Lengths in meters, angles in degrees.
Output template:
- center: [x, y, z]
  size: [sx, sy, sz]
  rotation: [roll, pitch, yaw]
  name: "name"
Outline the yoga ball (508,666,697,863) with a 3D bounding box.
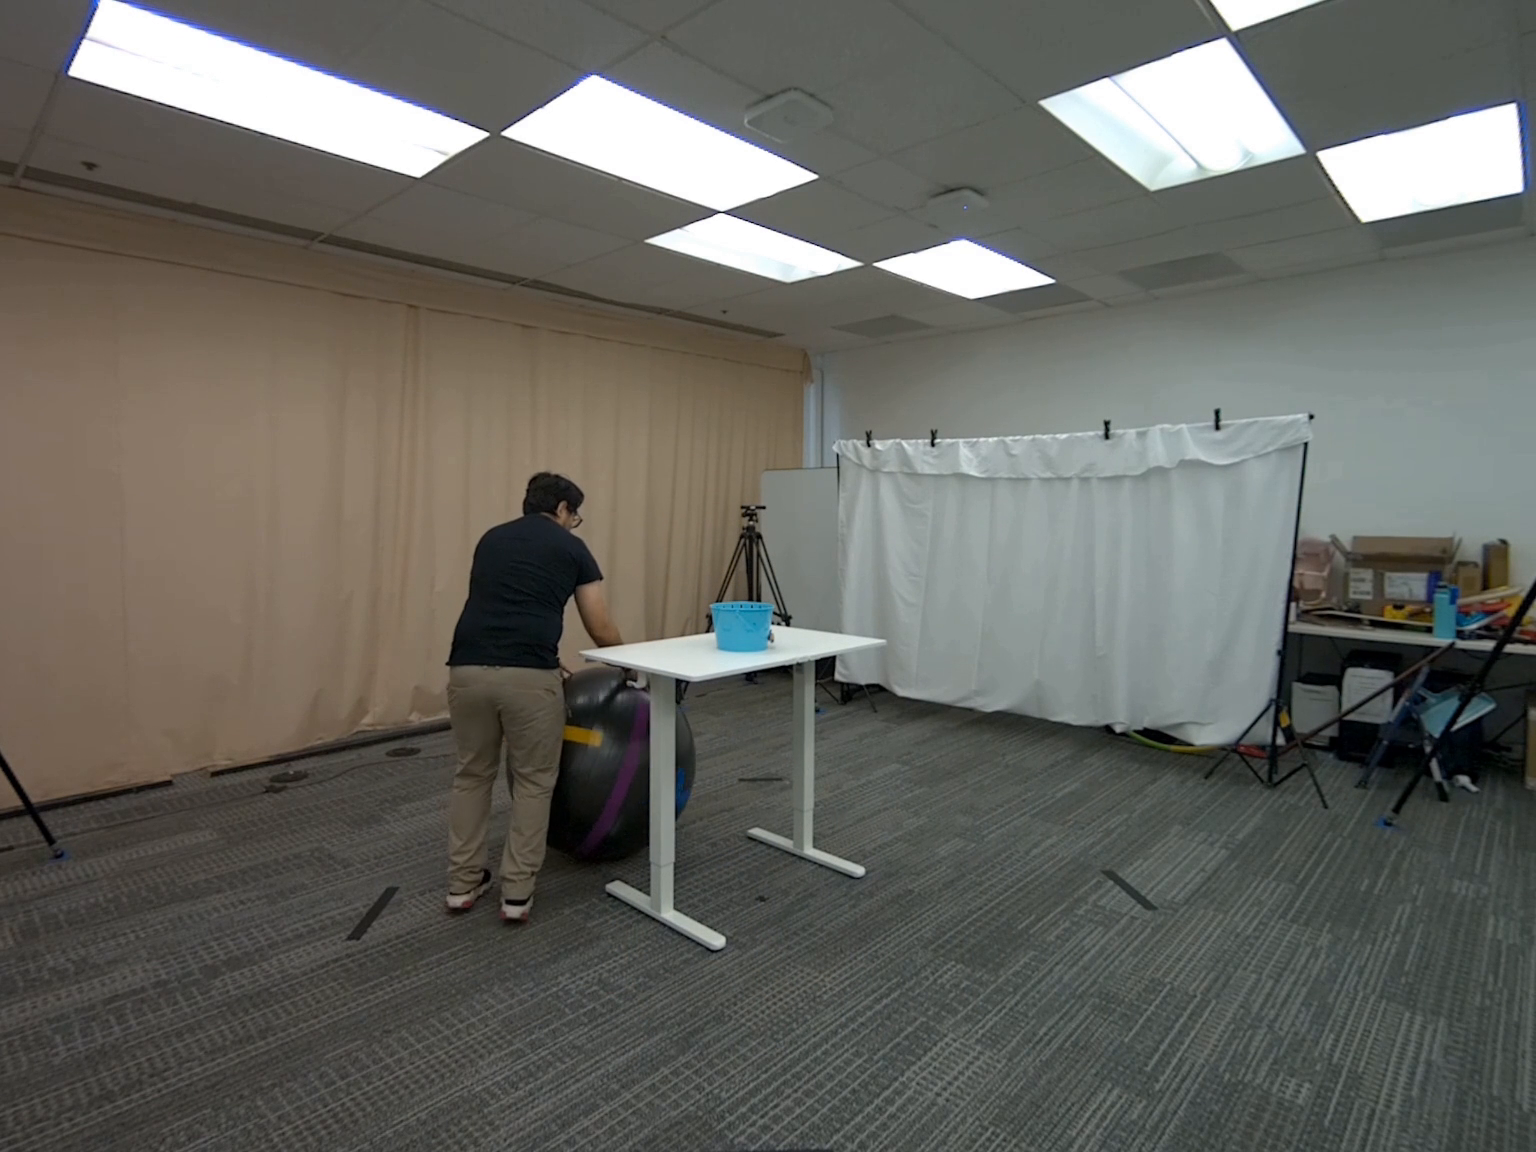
- center: [-0.669, 0.751, 3.406]
  size: [0.757, 0.756, 0.760]
  rotation: [0, 4, -2]
  name: "yoga ball"
